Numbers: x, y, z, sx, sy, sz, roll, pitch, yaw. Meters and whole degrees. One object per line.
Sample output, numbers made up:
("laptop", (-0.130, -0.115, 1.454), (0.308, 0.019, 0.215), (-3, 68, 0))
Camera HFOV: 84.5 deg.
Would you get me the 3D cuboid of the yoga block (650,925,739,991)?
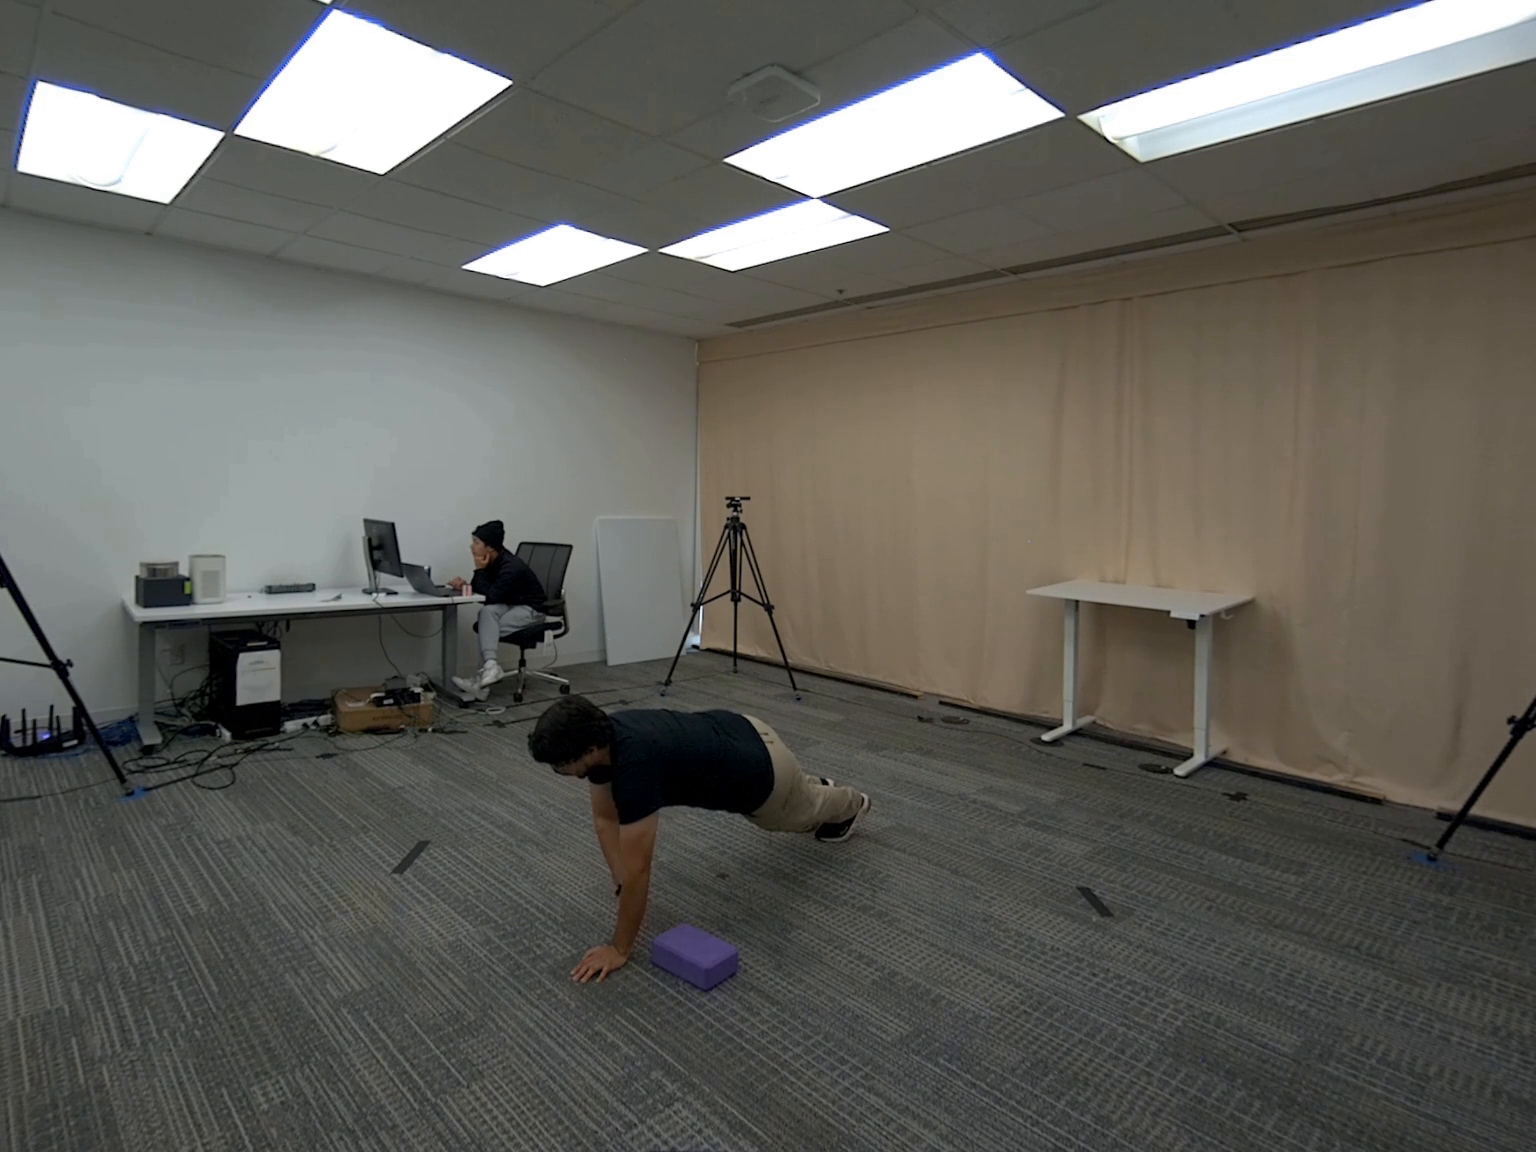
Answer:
("yoga block", (-0.222, 1.122, 2.484), (0.235, 0.076, 0.146), (5, 7, 39))
